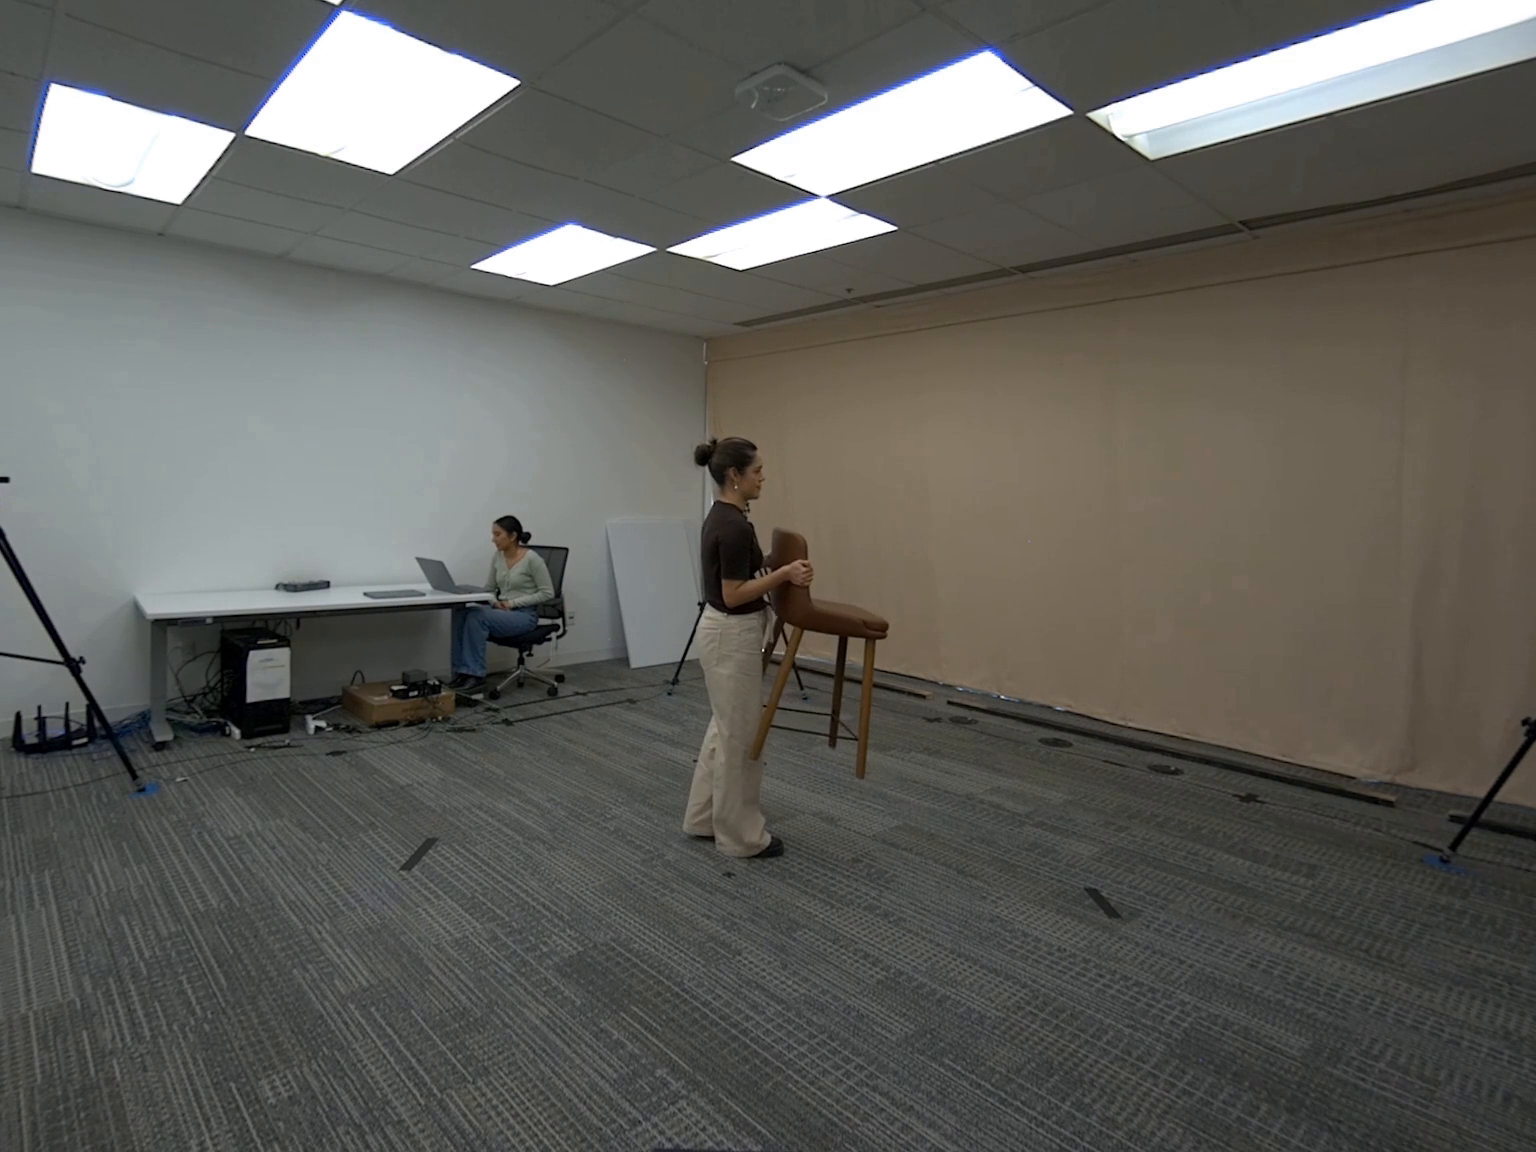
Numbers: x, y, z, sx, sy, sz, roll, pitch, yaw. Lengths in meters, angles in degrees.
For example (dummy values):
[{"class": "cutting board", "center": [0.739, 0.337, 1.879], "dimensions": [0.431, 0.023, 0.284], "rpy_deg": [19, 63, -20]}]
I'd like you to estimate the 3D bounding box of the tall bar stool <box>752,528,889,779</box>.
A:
[{"class": "tall bar stool", "center": [0.187, 0.289, 3.350], "dimensions": [0.463, 0.888, 0.462], "rpy_deg": [9, 2, -12]}]
